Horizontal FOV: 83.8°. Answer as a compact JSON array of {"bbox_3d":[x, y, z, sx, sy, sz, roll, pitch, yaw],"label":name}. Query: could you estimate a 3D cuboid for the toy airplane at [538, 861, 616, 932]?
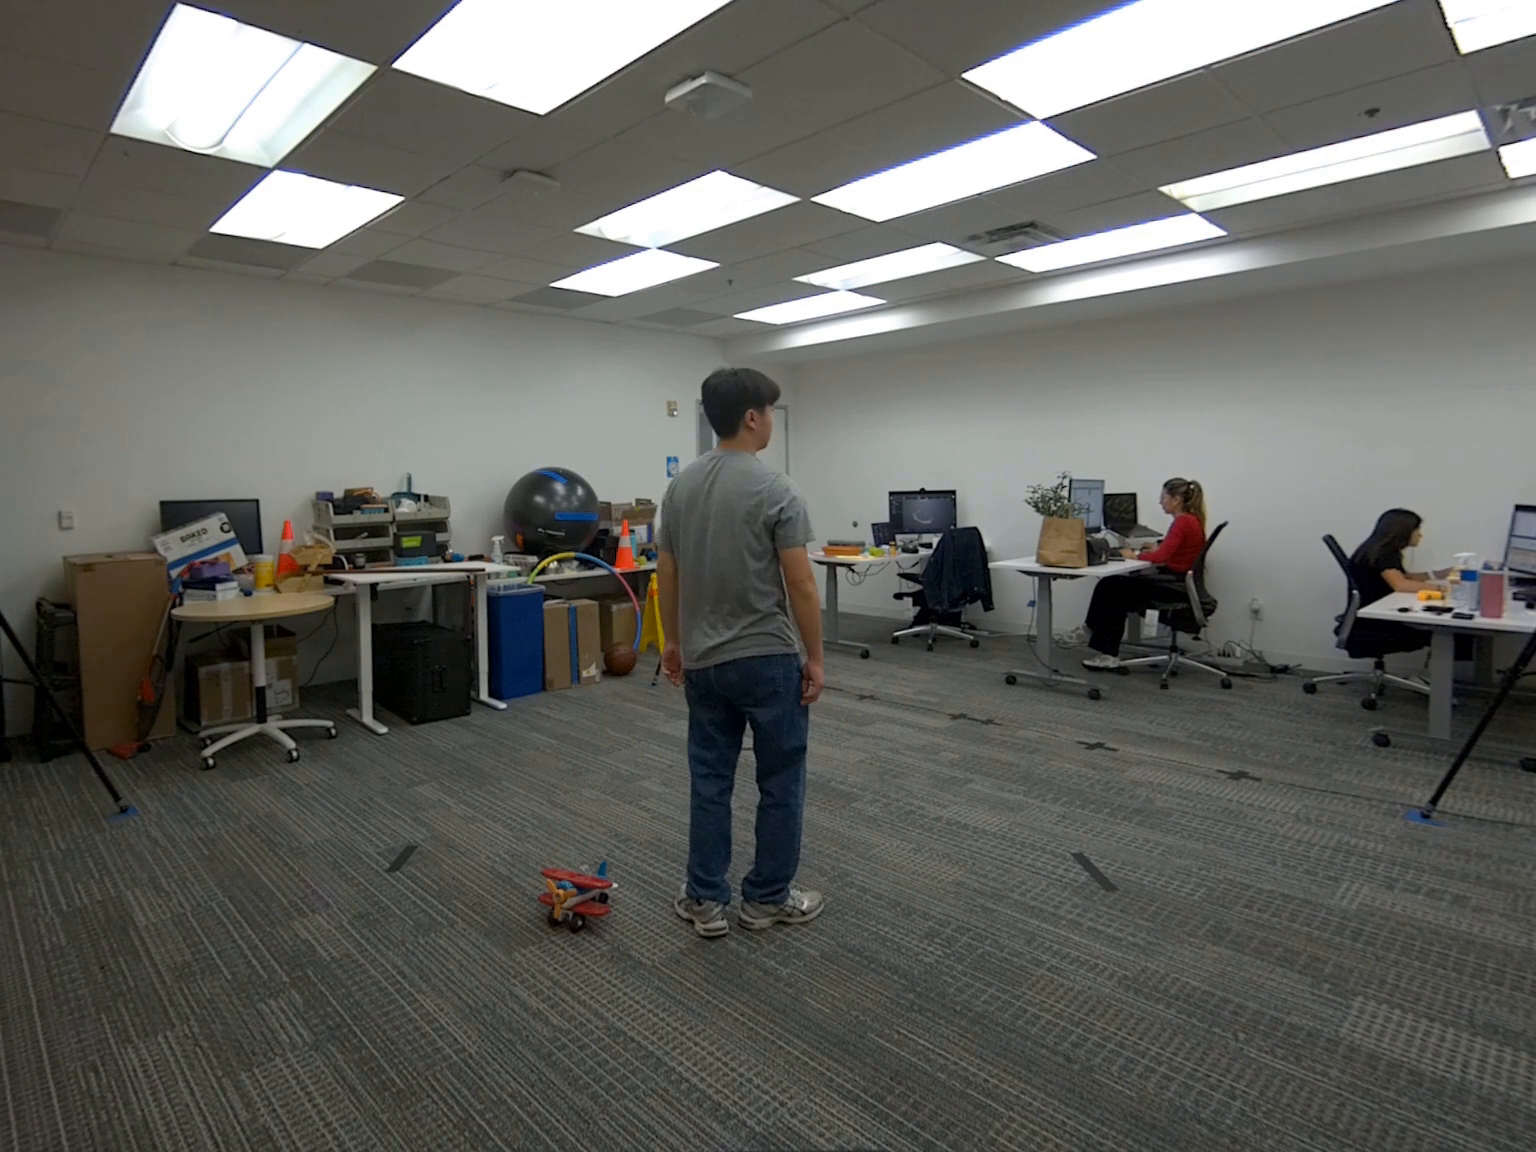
[{"bbox_3d":[-0.609,1.022,2.761,0.251,0.155,0.261,-2,7,-3],"label":"toy airplane"}]
